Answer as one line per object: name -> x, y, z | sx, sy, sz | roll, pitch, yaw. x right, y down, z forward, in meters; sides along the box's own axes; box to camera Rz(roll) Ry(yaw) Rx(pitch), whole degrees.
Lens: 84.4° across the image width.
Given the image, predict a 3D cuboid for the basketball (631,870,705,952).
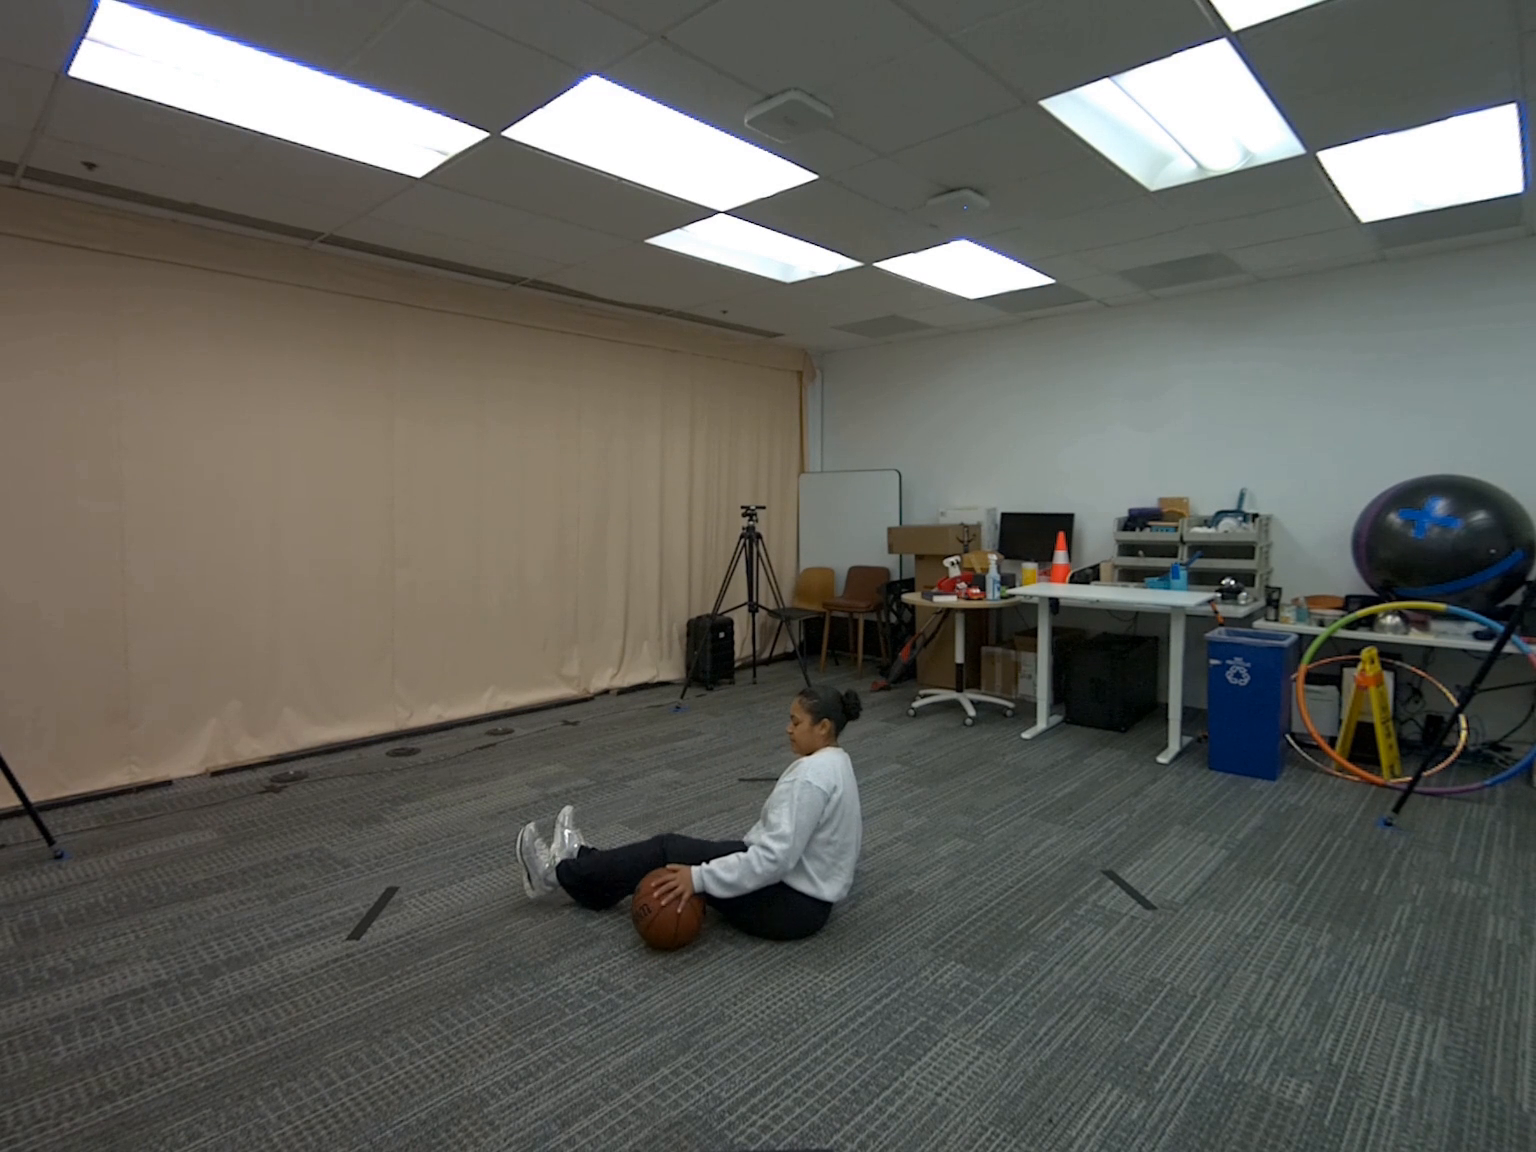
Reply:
basketball -> -0.317, 1.050, 2.679 | 0.236, 0.235, 0.237 | 0, 4, -2
